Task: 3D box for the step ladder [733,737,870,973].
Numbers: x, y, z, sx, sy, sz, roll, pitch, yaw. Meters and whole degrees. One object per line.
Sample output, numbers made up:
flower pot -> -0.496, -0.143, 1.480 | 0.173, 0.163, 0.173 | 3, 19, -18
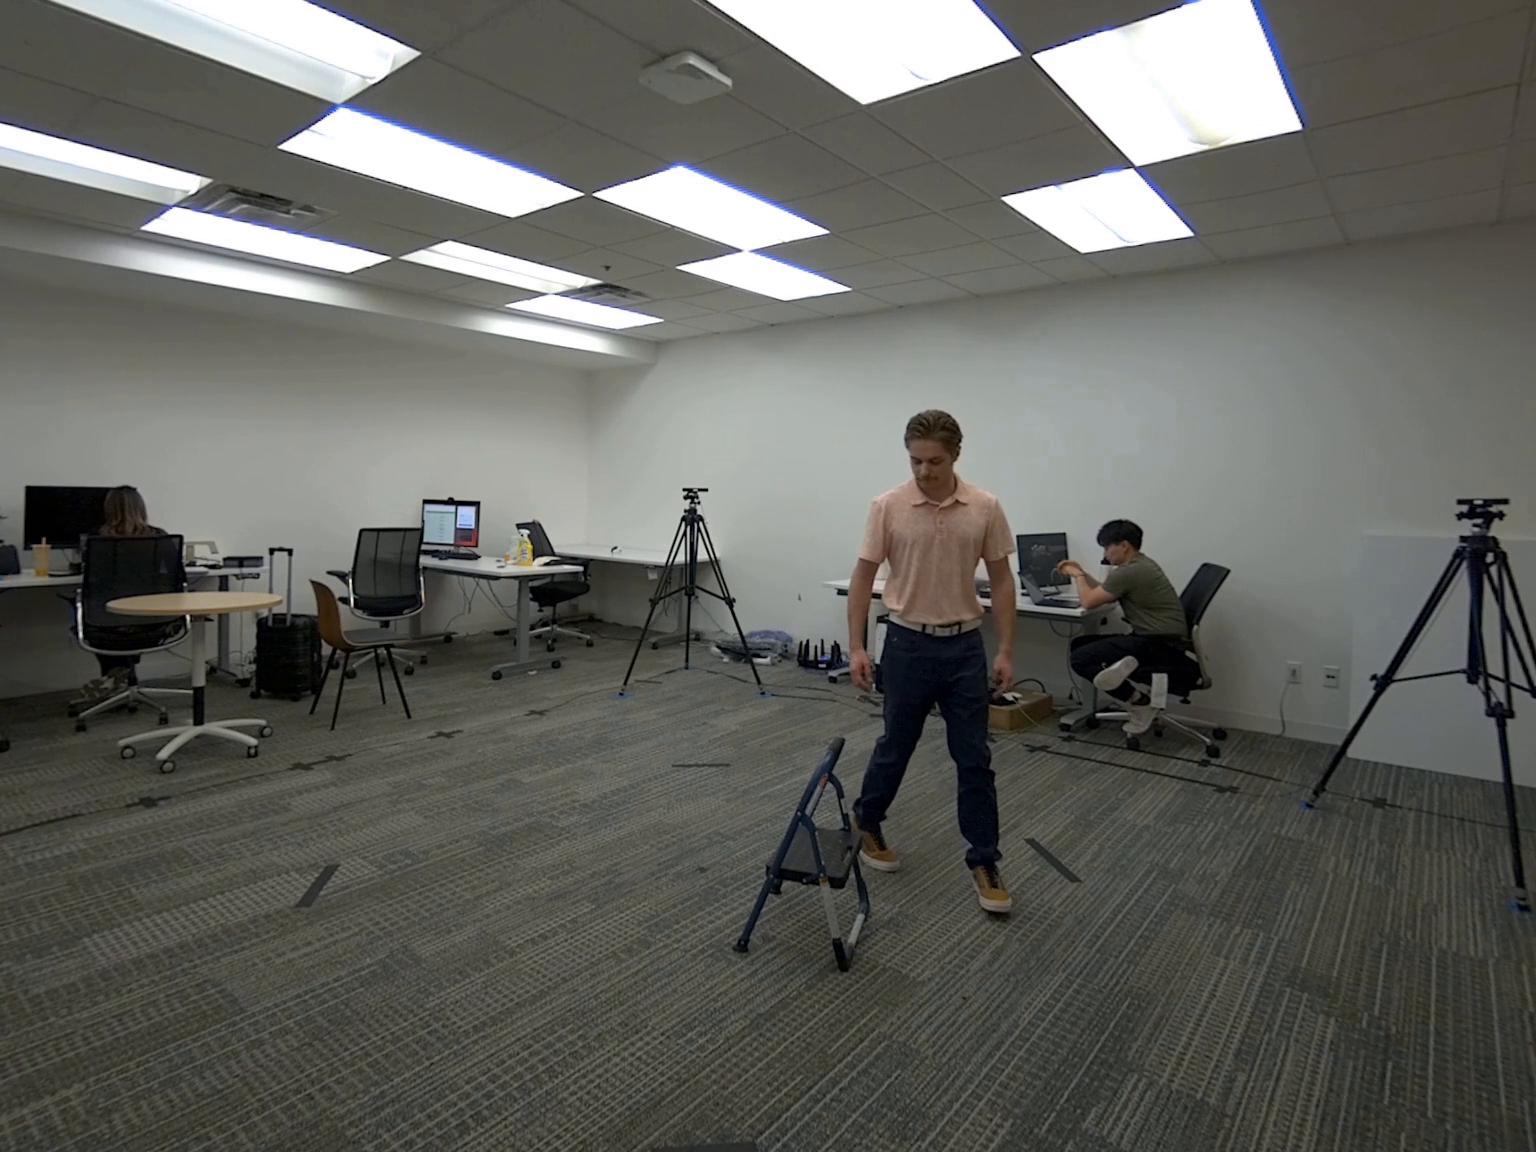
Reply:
step ladder -> 0.122, 0.815, 2.687 | 0.356, 0.604, 0.424 | 2, 4, 17
